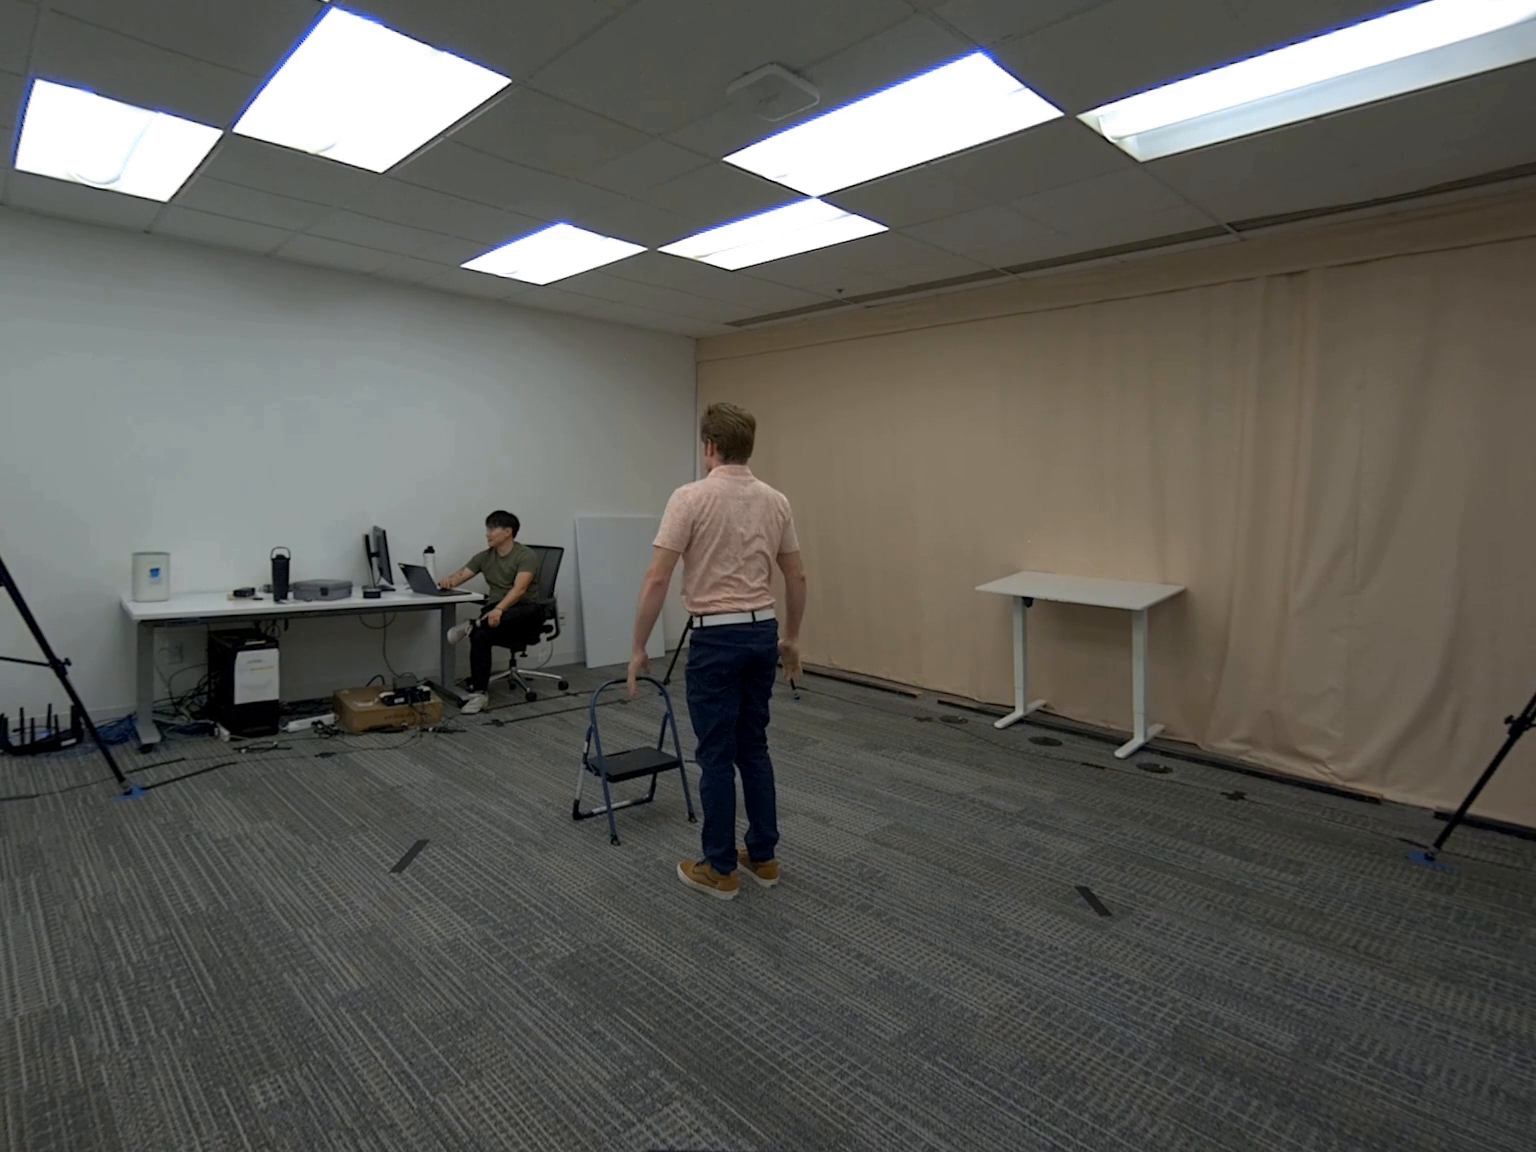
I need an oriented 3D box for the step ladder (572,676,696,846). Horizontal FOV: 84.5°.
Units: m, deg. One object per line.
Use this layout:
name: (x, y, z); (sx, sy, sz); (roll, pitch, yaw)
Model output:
step ladder: (-0.573, 0.748, 3.594); (0.420, 0.605, 0.358); (-1, 4, -43)
